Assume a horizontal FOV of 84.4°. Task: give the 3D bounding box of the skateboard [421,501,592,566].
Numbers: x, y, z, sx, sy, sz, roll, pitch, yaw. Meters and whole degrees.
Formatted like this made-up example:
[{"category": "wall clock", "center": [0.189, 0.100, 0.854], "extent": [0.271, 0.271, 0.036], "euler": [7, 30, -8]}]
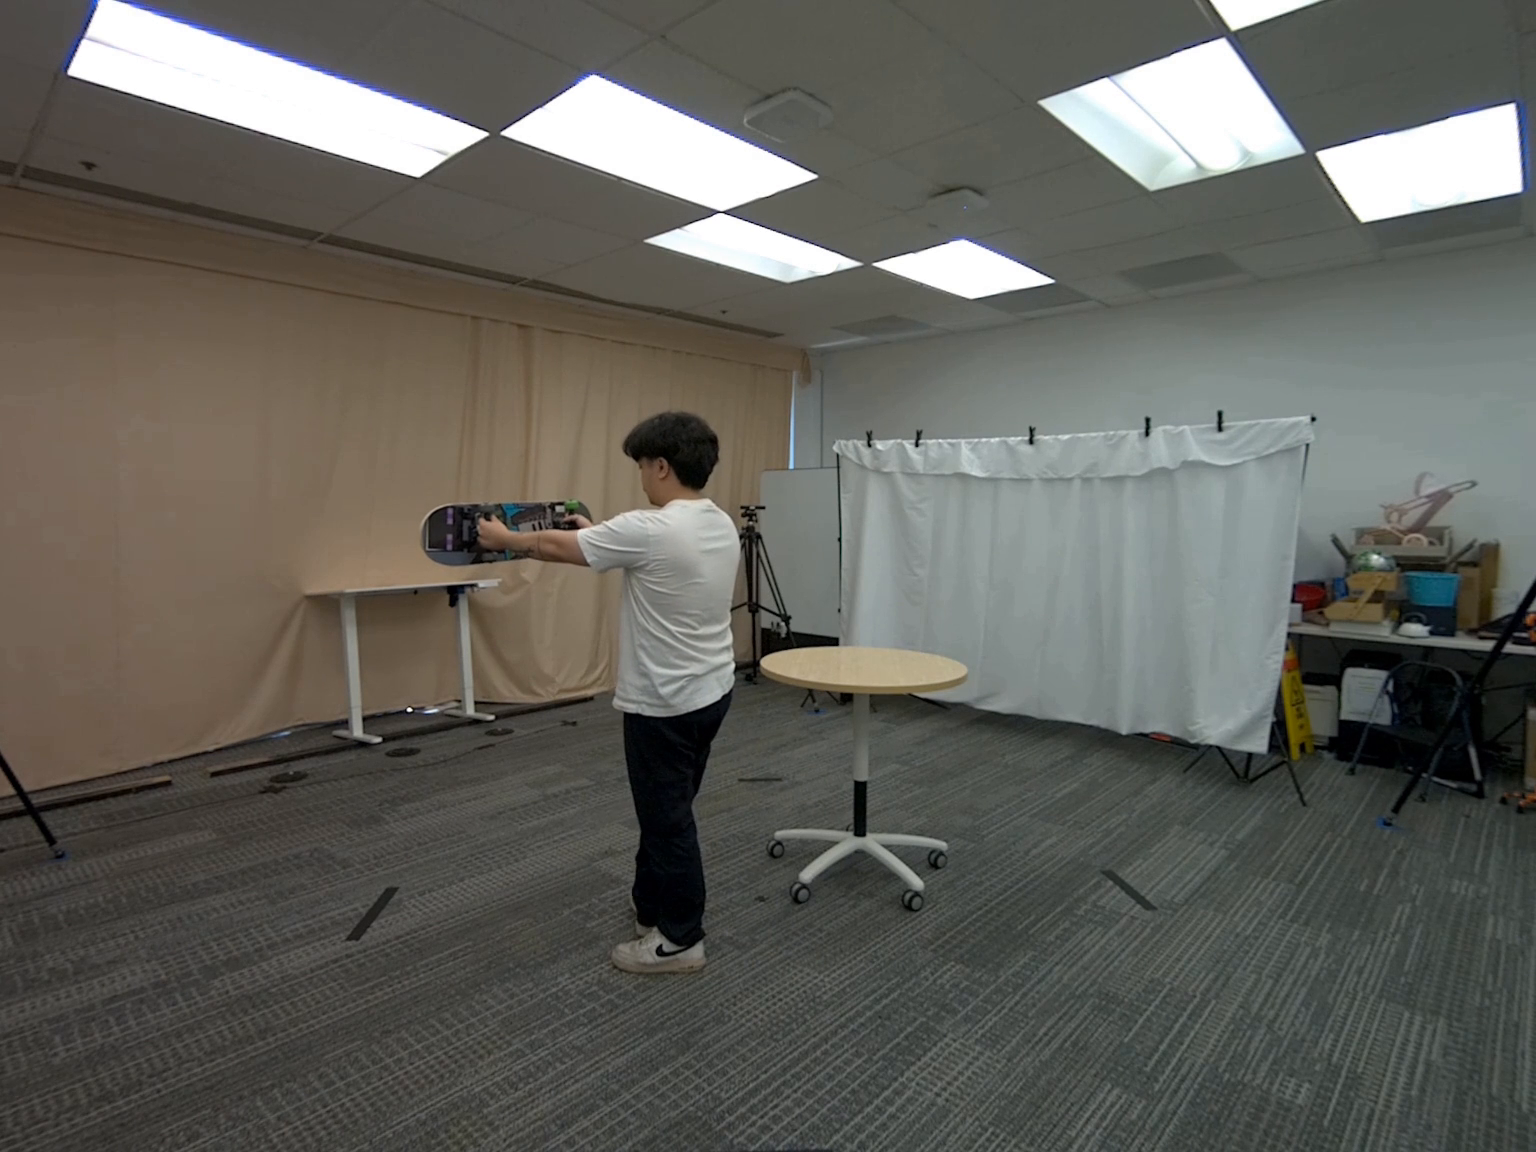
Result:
[{"category": "skateboard", "center": [-0.810, -0.149, 2.834], "extent": [0.113, 0.193, 0.765], "euler": [-1, 5, 31]}]
